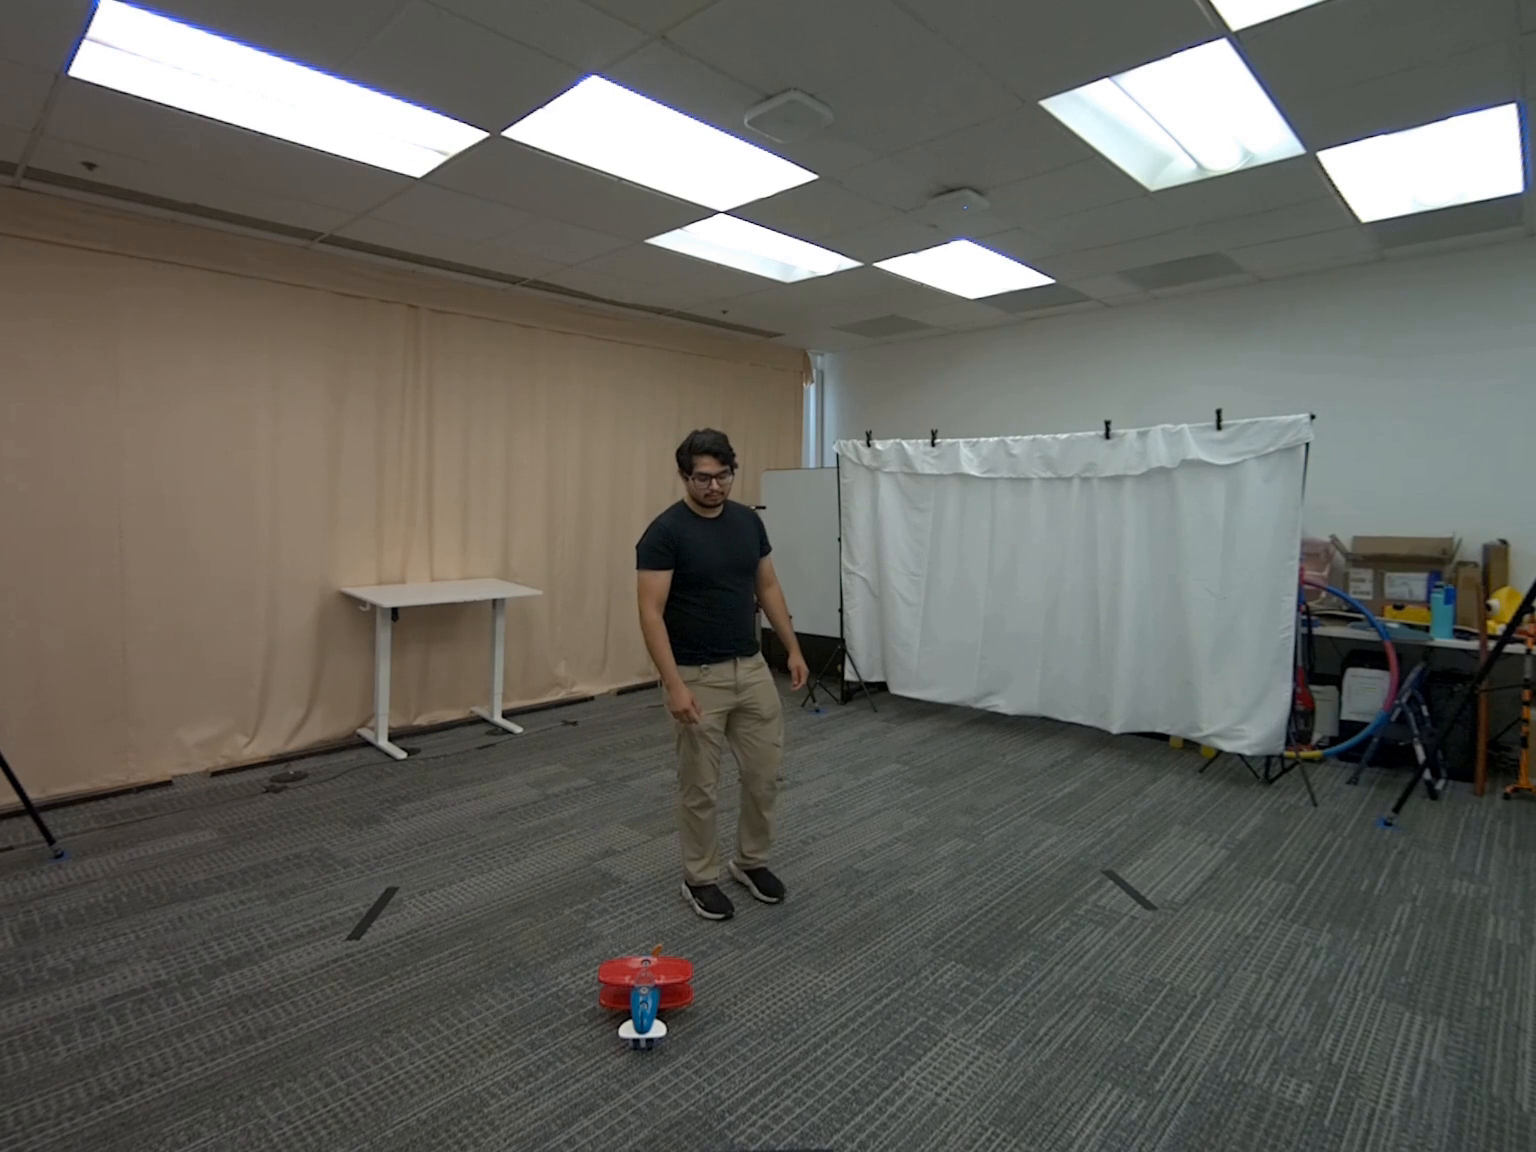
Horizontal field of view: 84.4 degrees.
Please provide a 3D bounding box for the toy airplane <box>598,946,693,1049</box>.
[{"bbox_3d":[-0.310,1.122,2.255,0.244,0.156,0.267,-3,4,-31],"label":"toy airplane"}]
